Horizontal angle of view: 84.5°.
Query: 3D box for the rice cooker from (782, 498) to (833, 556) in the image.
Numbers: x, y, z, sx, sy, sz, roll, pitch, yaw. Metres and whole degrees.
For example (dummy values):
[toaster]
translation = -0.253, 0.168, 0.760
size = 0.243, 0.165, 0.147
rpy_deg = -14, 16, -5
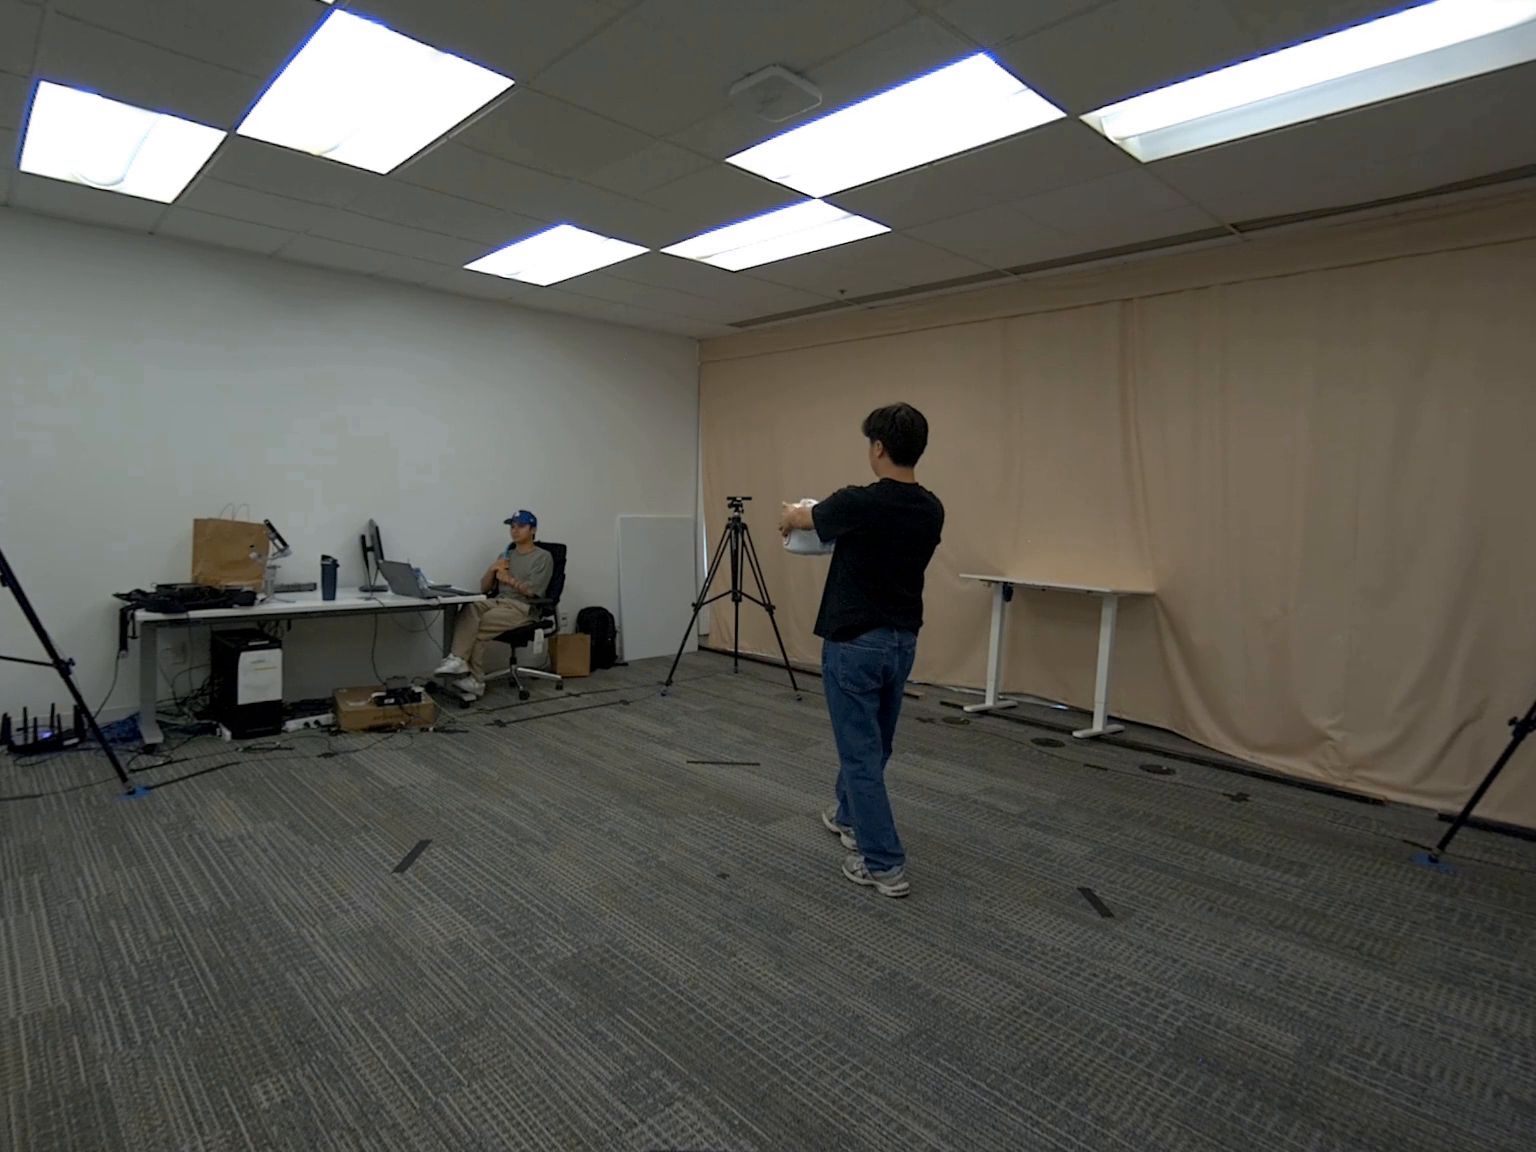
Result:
[rice cooker]
translation = 0.160, -0.212, 3.596
size = 0.214, 0.231, 0.225
rpy_deg = -2, 8, -25
